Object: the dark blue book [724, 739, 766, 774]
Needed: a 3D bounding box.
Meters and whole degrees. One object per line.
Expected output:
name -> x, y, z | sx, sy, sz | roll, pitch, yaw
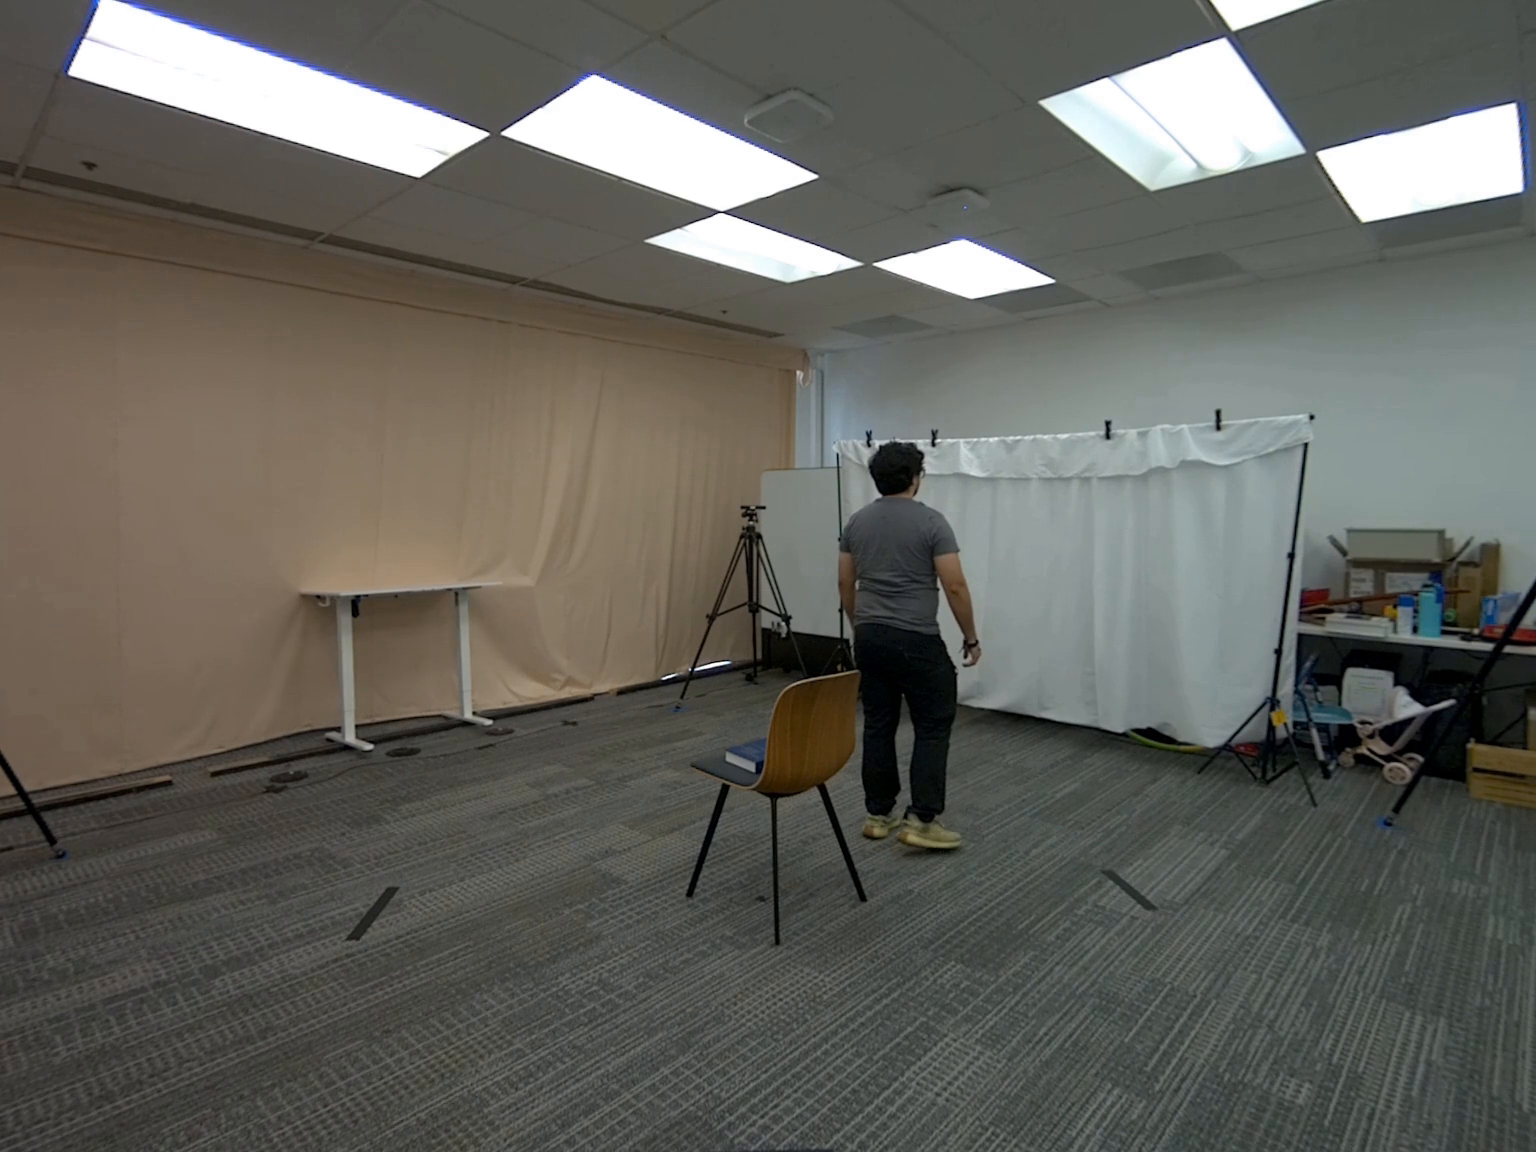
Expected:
dark blue book -> -0.014, 0.635, 3.009 | 0.237, 0.045, 0.169 | -5, 9, -44
